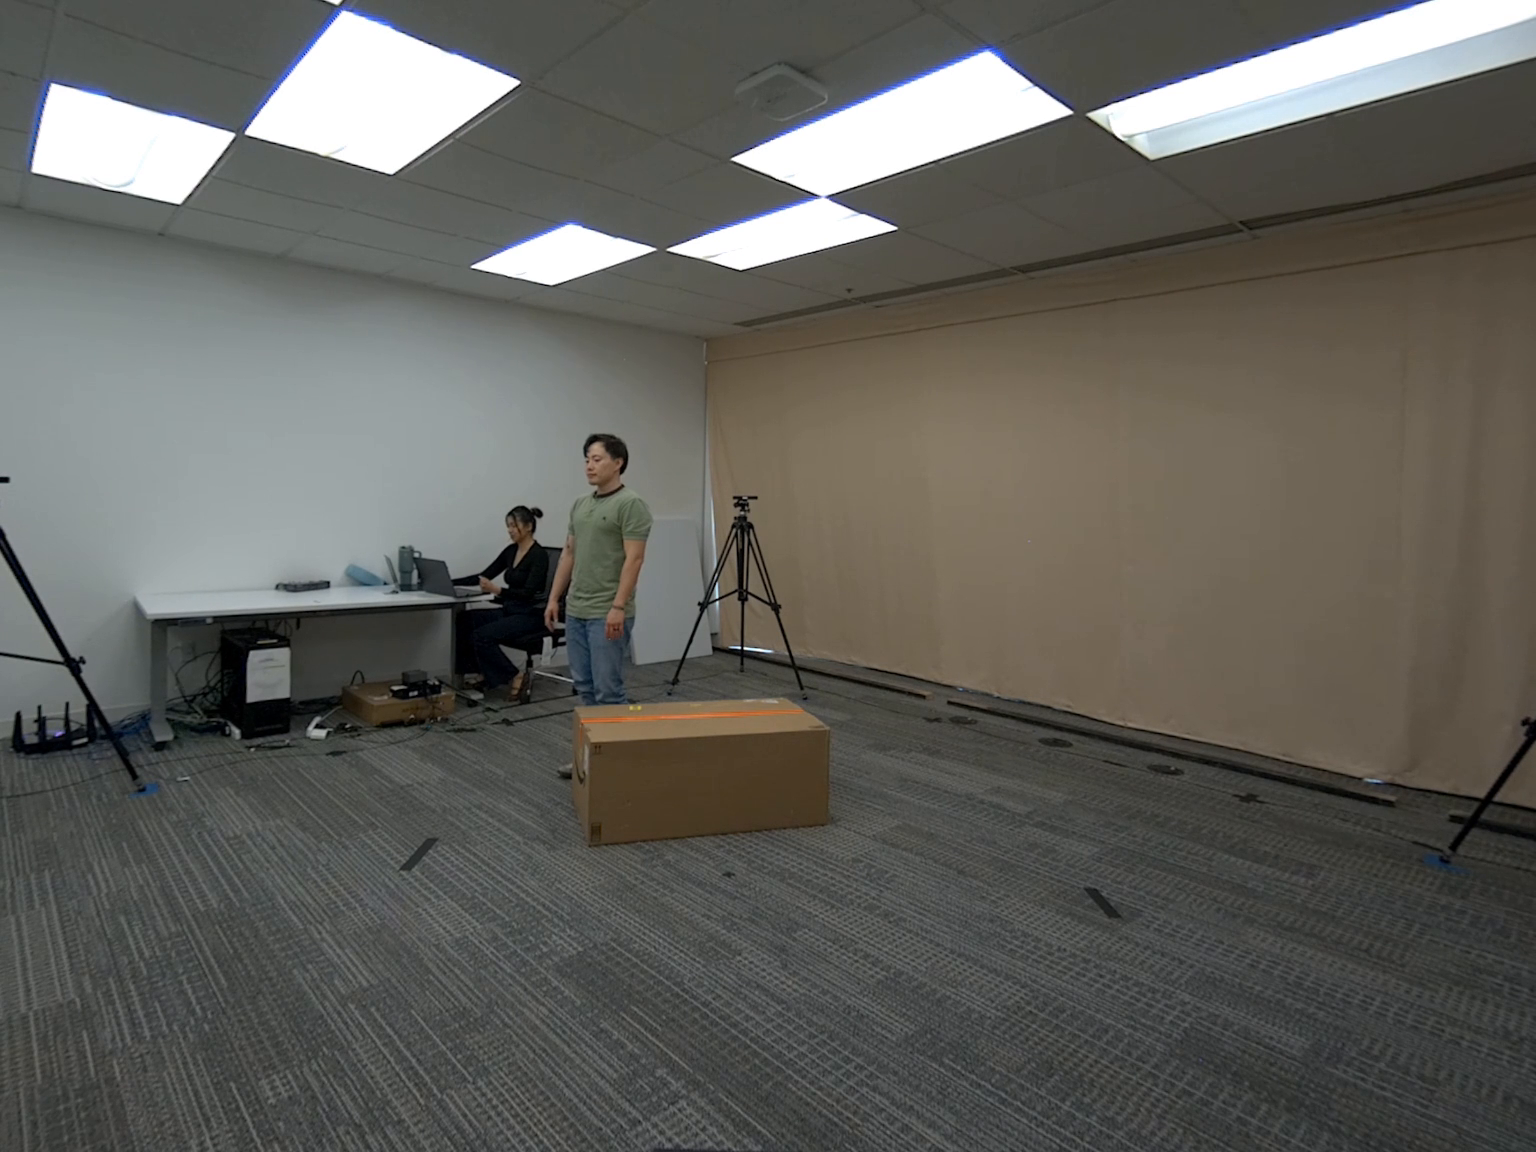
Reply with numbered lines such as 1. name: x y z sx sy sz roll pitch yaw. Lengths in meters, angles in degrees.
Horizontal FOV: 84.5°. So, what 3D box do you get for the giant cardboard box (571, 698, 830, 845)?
1. giant cardboard box: -0.320 0.828 3.720 1.012 0.425 0.586 0 4 -18
